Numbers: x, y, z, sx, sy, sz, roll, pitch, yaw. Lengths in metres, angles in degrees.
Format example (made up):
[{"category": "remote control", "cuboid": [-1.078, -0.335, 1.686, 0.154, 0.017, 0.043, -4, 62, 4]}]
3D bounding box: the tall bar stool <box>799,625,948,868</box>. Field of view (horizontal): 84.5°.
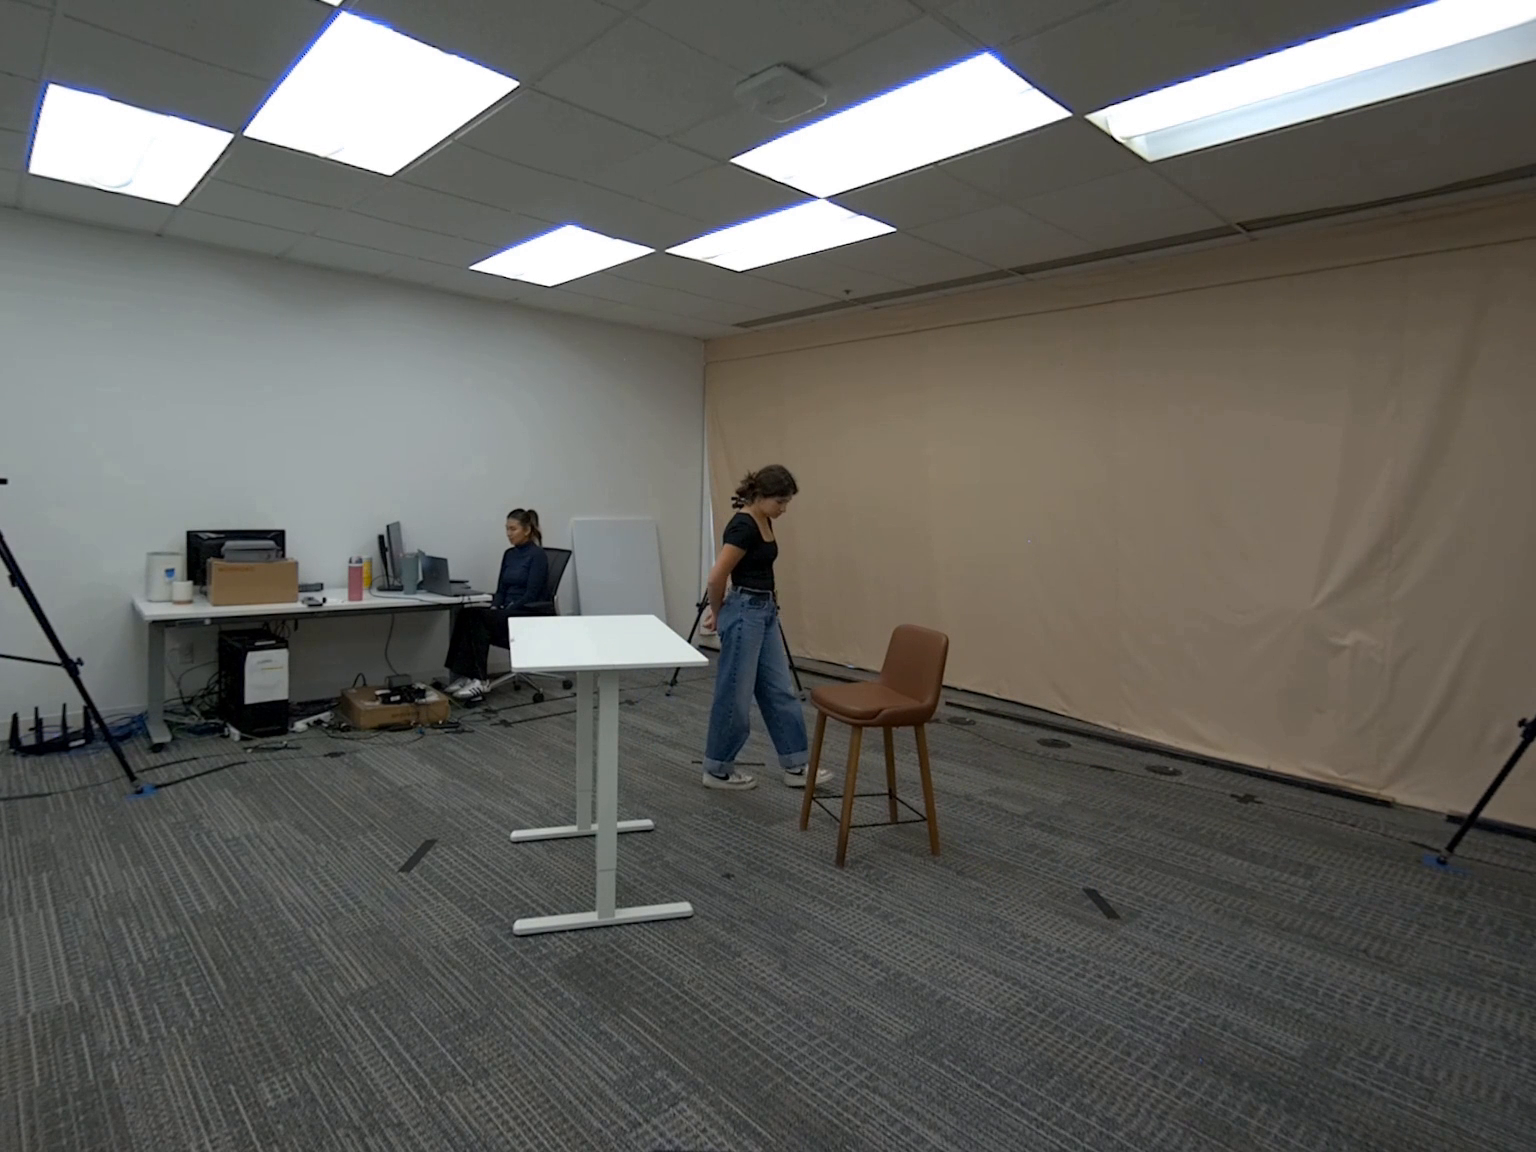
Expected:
[{"category": "tall bar stool", "cuboid": [0.420, 0.657, 3.425, 0.461, 0.888, 0.464, 2, 2, -19]}]
